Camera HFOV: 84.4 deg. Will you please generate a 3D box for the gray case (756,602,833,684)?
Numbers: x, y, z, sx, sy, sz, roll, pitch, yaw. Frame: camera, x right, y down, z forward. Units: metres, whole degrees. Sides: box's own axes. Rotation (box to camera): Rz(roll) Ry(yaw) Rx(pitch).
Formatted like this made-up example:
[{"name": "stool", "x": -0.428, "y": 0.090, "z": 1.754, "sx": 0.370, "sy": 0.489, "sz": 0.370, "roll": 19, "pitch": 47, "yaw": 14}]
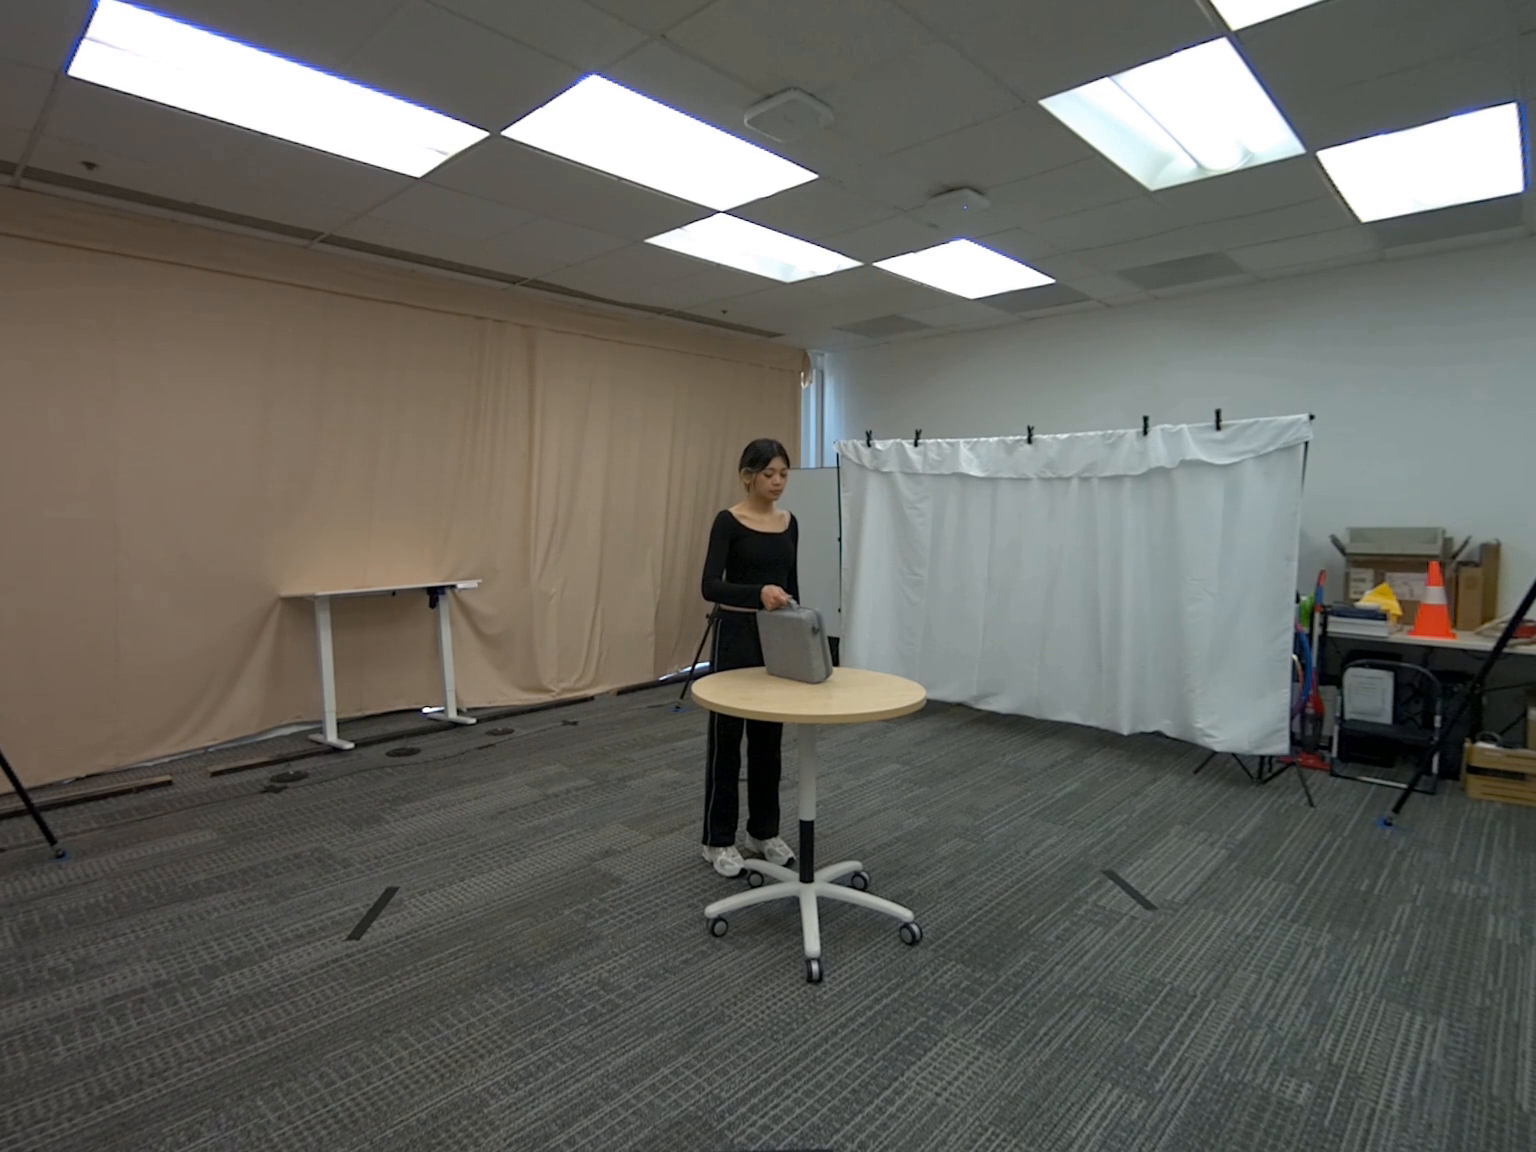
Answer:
[{"name": "gray case", "x": 0.091, "y": 0.226, "z": 2.911, "sx": 0.102, "sy": 0.259, "sz": 0.265, "roll": -16, "pitch": 12, "yaw": -38}]
